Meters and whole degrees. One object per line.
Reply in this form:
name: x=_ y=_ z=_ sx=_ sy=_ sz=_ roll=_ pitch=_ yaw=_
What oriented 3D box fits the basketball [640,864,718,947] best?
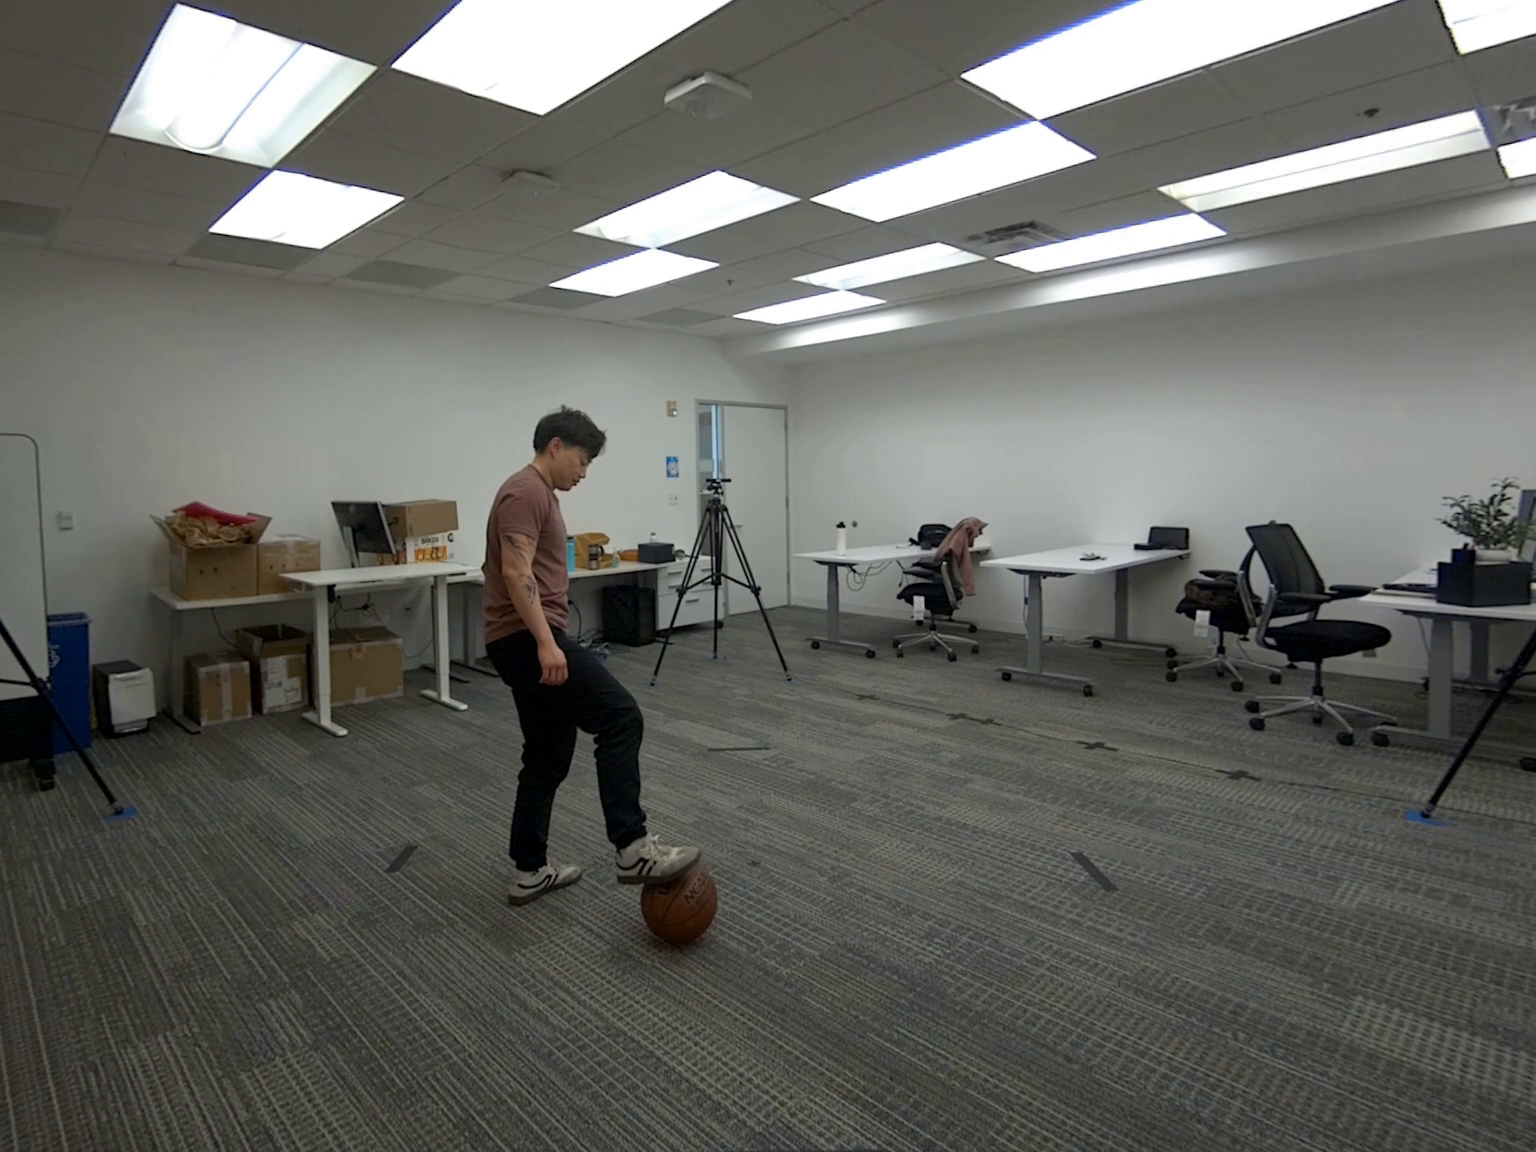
basketball: x=-0.272 y=0.989 z=2.613 sx=0.236 sy=0.235 sz=0.237 roll=-1 pitch=5 yaw=-2
